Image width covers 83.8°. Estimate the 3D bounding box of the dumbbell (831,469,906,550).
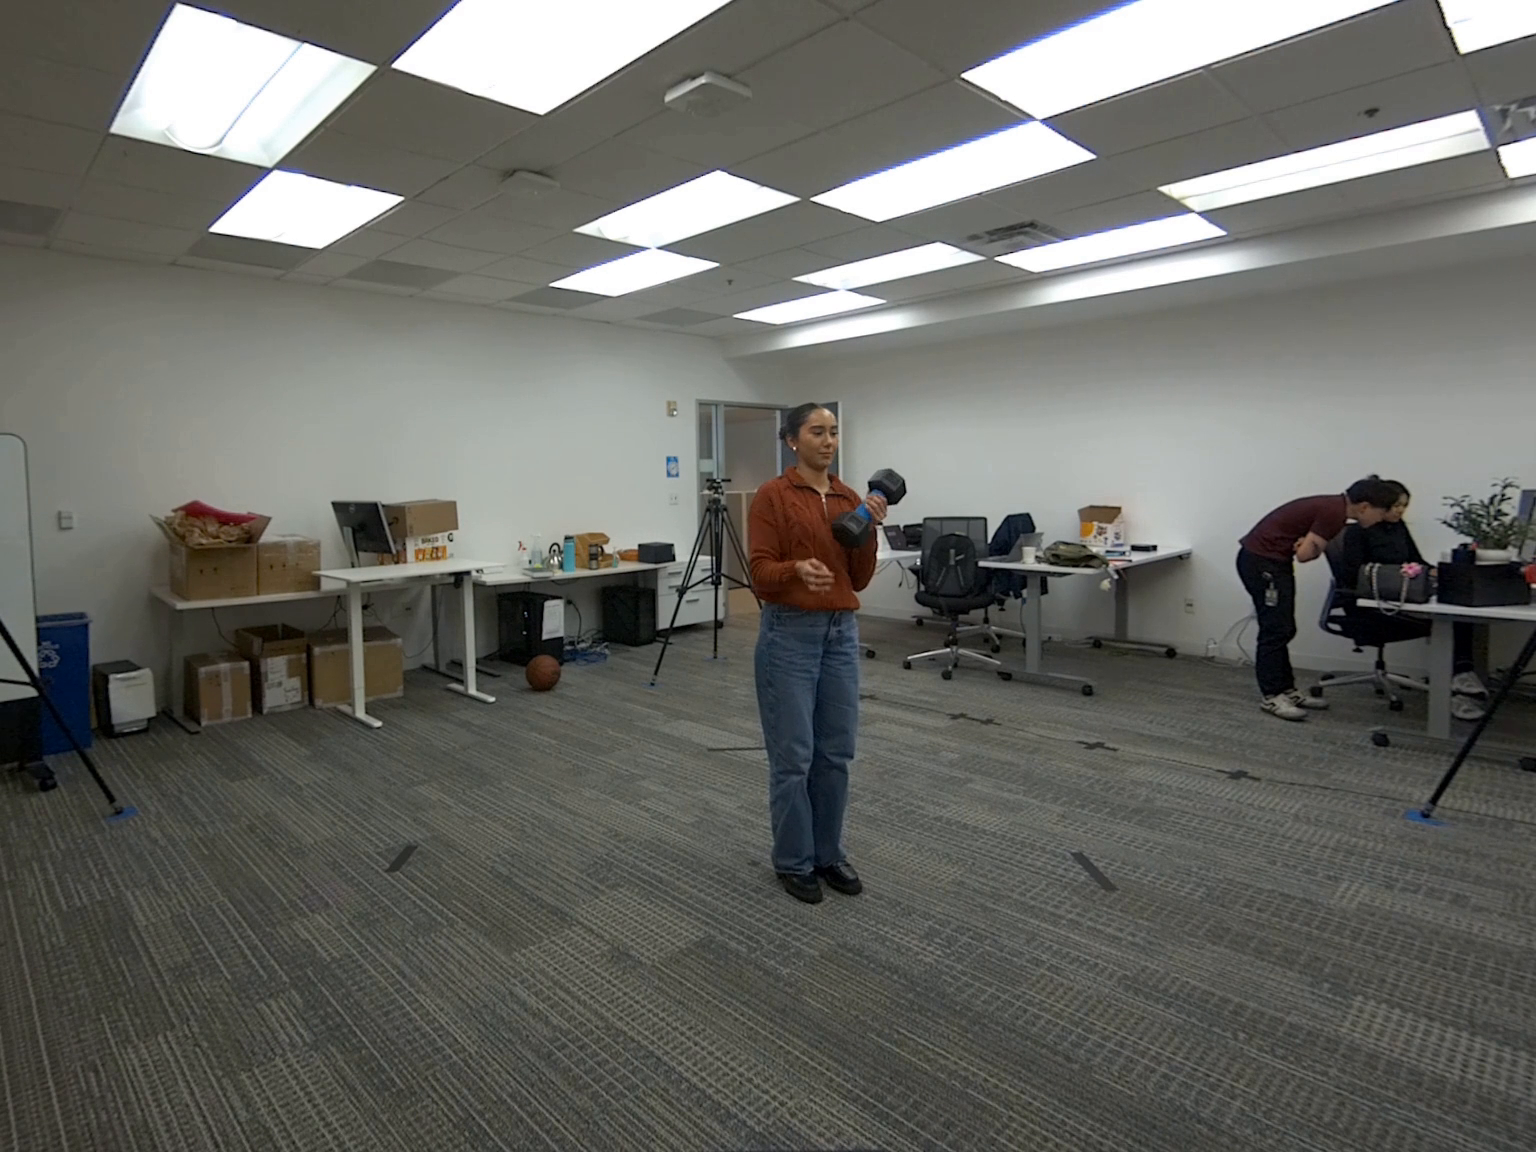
[{"bbox_3d":[0.317,-0.216,2.768,0.112,0.118,0.293,23,58,34],"label":"dumbbell"}]
